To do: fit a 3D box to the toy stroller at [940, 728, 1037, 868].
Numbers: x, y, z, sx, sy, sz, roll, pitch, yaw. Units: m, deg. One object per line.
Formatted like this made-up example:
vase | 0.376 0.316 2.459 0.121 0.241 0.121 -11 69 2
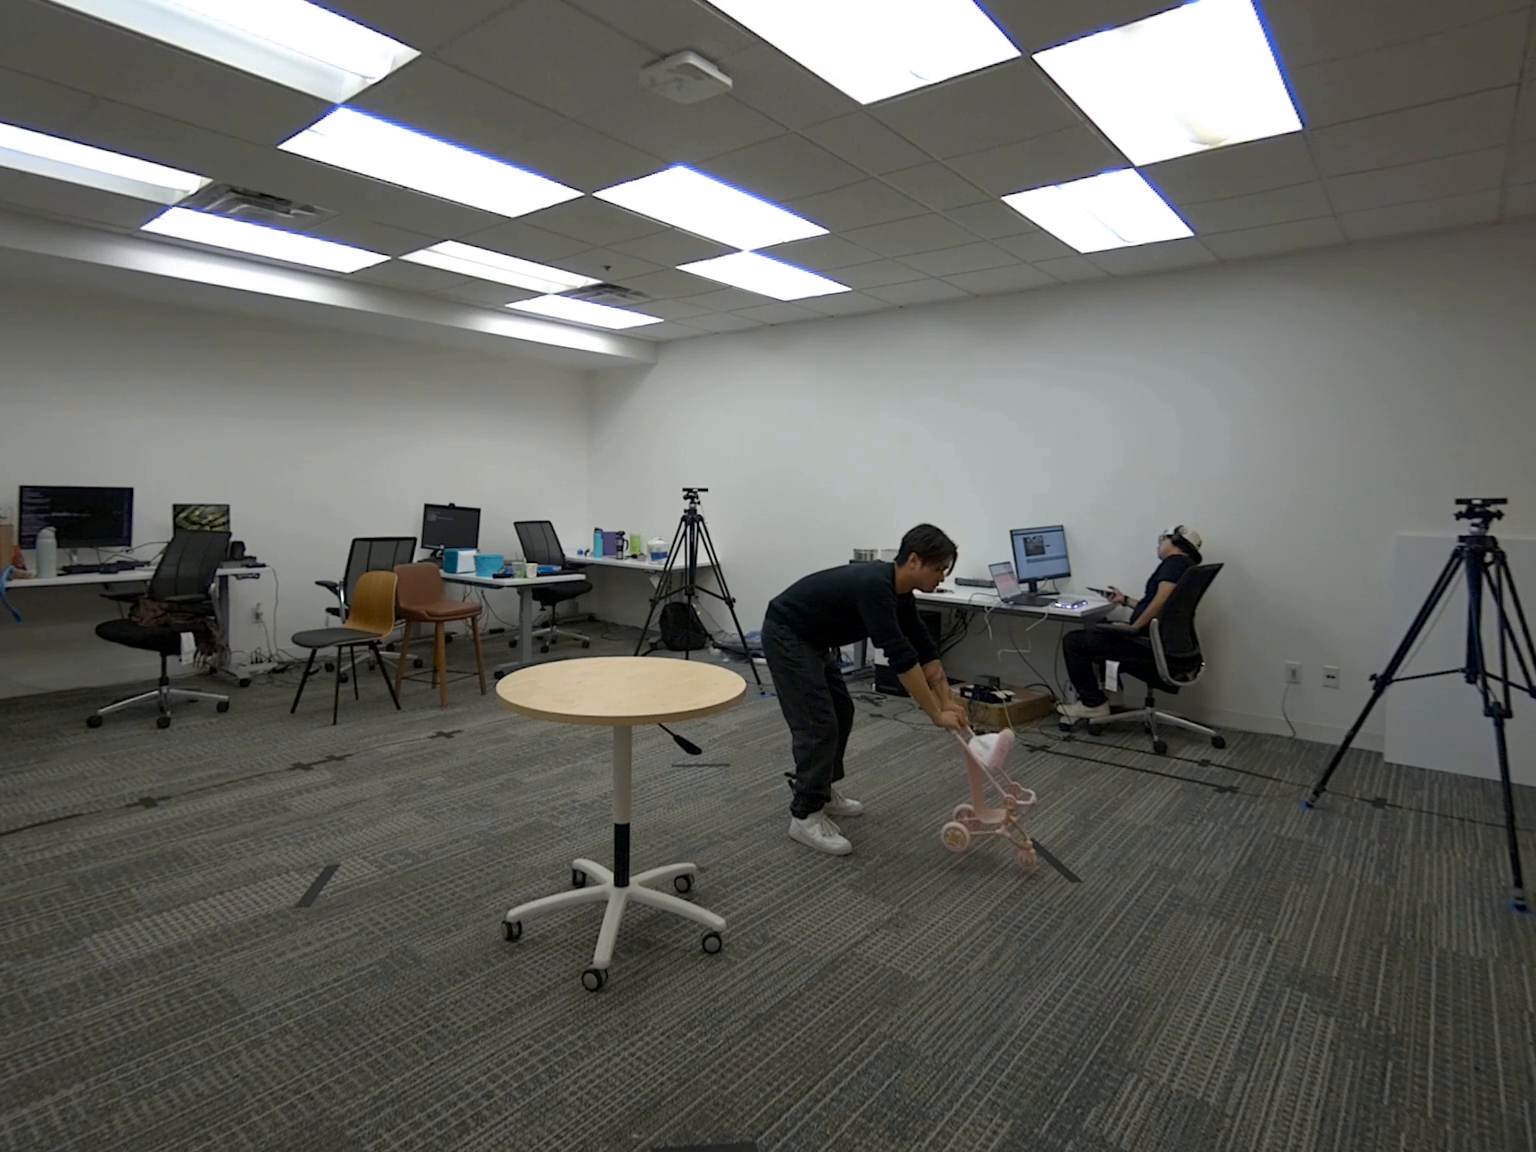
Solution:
toy stroller | 0.840 0.807 3.204 0.350 0.536 0.273 0 -2 28
